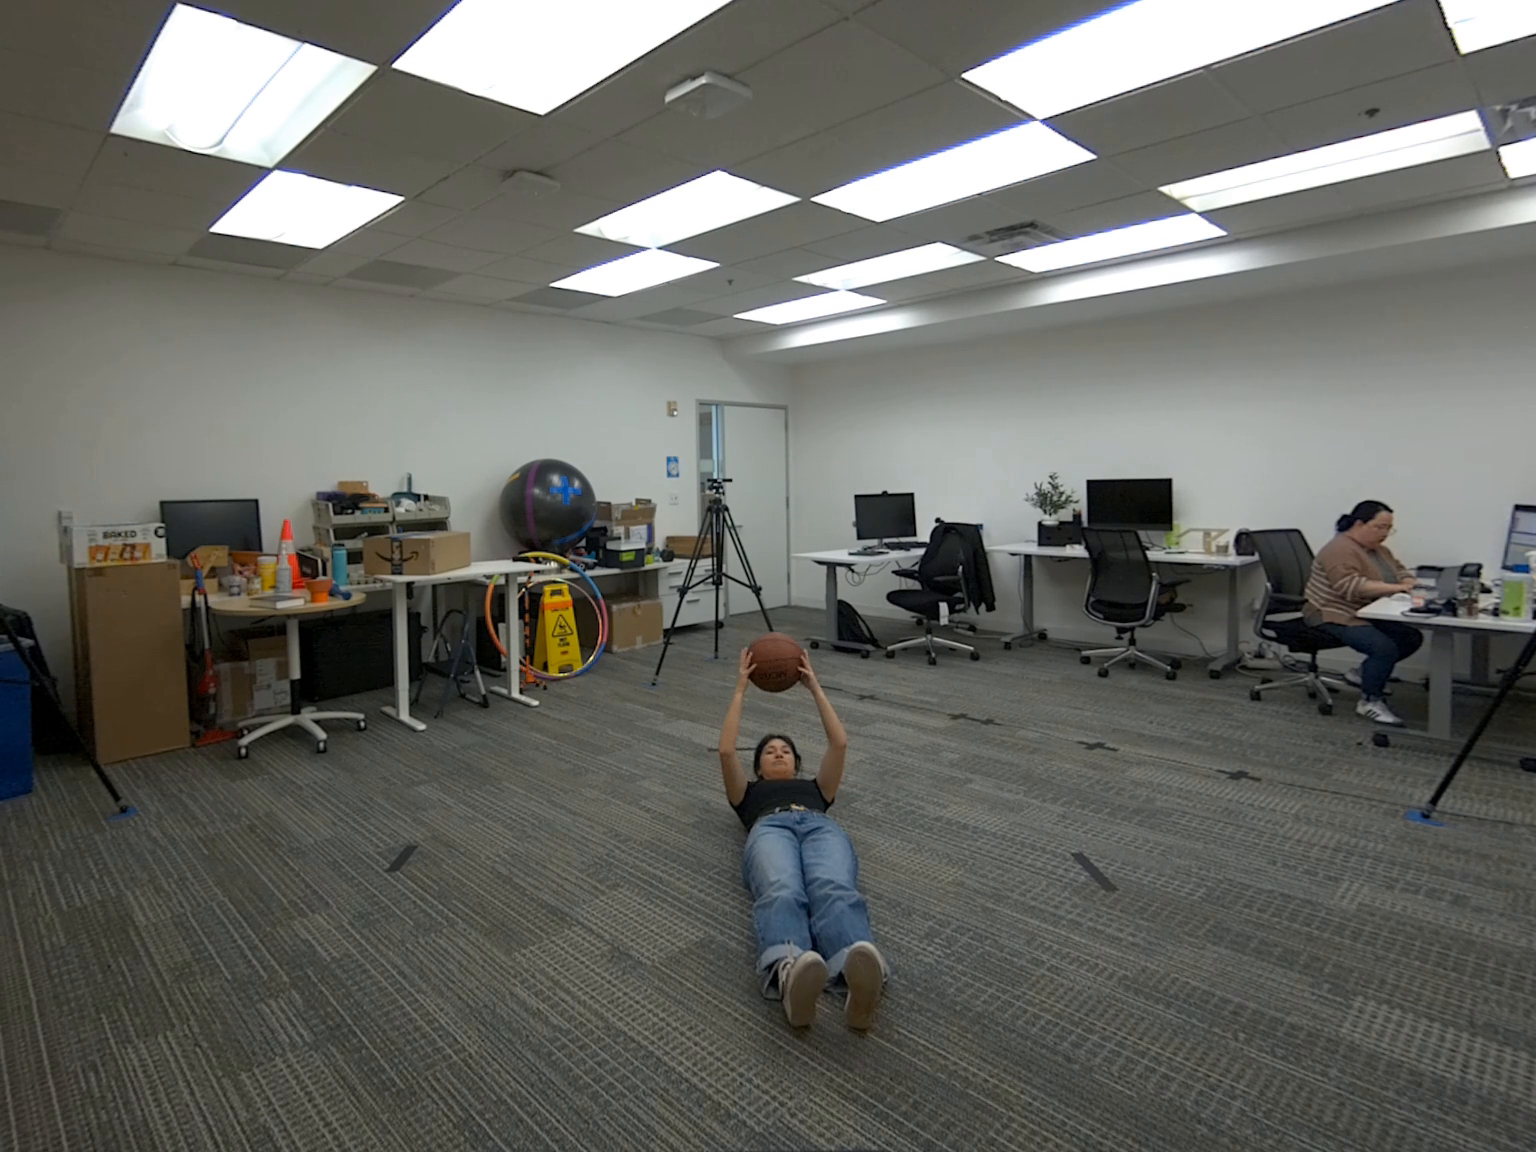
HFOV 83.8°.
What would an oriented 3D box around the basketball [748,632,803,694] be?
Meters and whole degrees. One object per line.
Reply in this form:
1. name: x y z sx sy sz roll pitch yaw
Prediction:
1. basketball: 0.026 0.364 3.423 0.236 0.235 0.237 -1 5 -2
